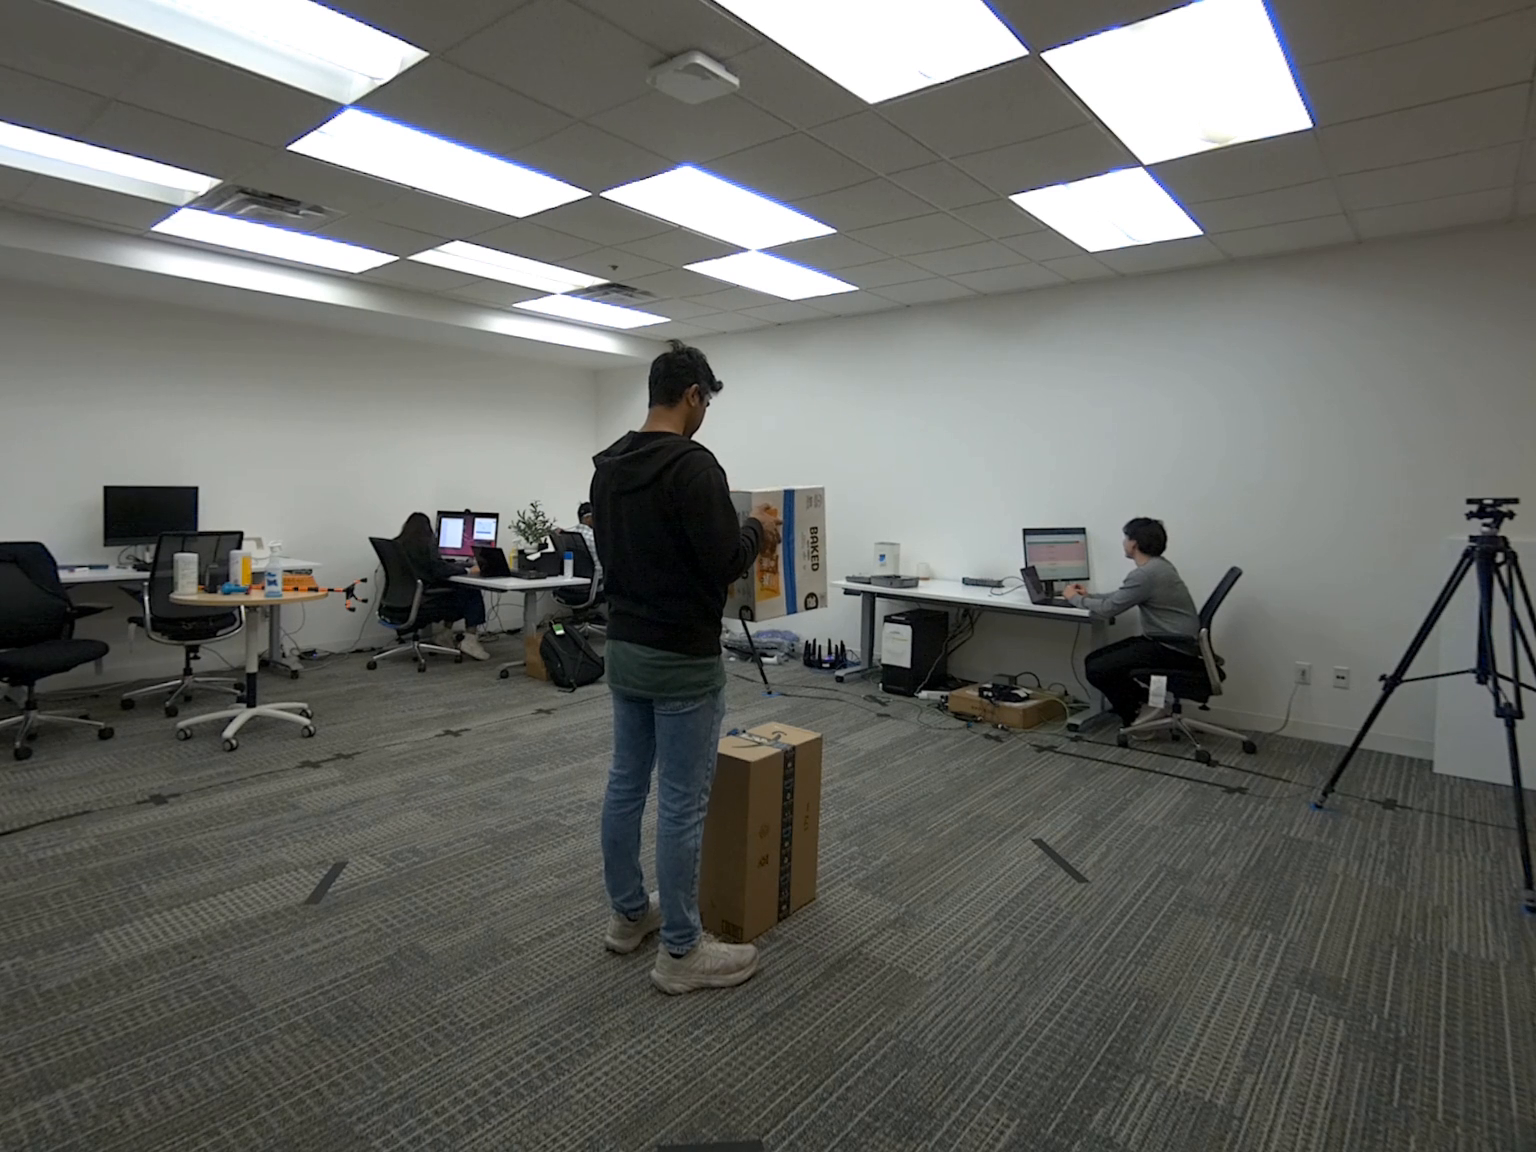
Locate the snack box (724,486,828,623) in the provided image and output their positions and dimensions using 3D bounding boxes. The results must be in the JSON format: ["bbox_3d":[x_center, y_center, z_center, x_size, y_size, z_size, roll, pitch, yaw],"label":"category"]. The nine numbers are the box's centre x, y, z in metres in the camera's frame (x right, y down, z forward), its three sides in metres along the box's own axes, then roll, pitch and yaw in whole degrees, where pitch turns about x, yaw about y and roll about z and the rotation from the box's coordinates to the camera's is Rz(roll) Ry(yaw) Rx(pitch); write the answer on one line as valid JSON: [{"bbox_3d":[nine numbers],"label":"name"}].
[{"bbox_3d":[-0.007,-0.080,2.766,0.331,0.403,0.213,-8,9,-43],"label":"snack box"}]
